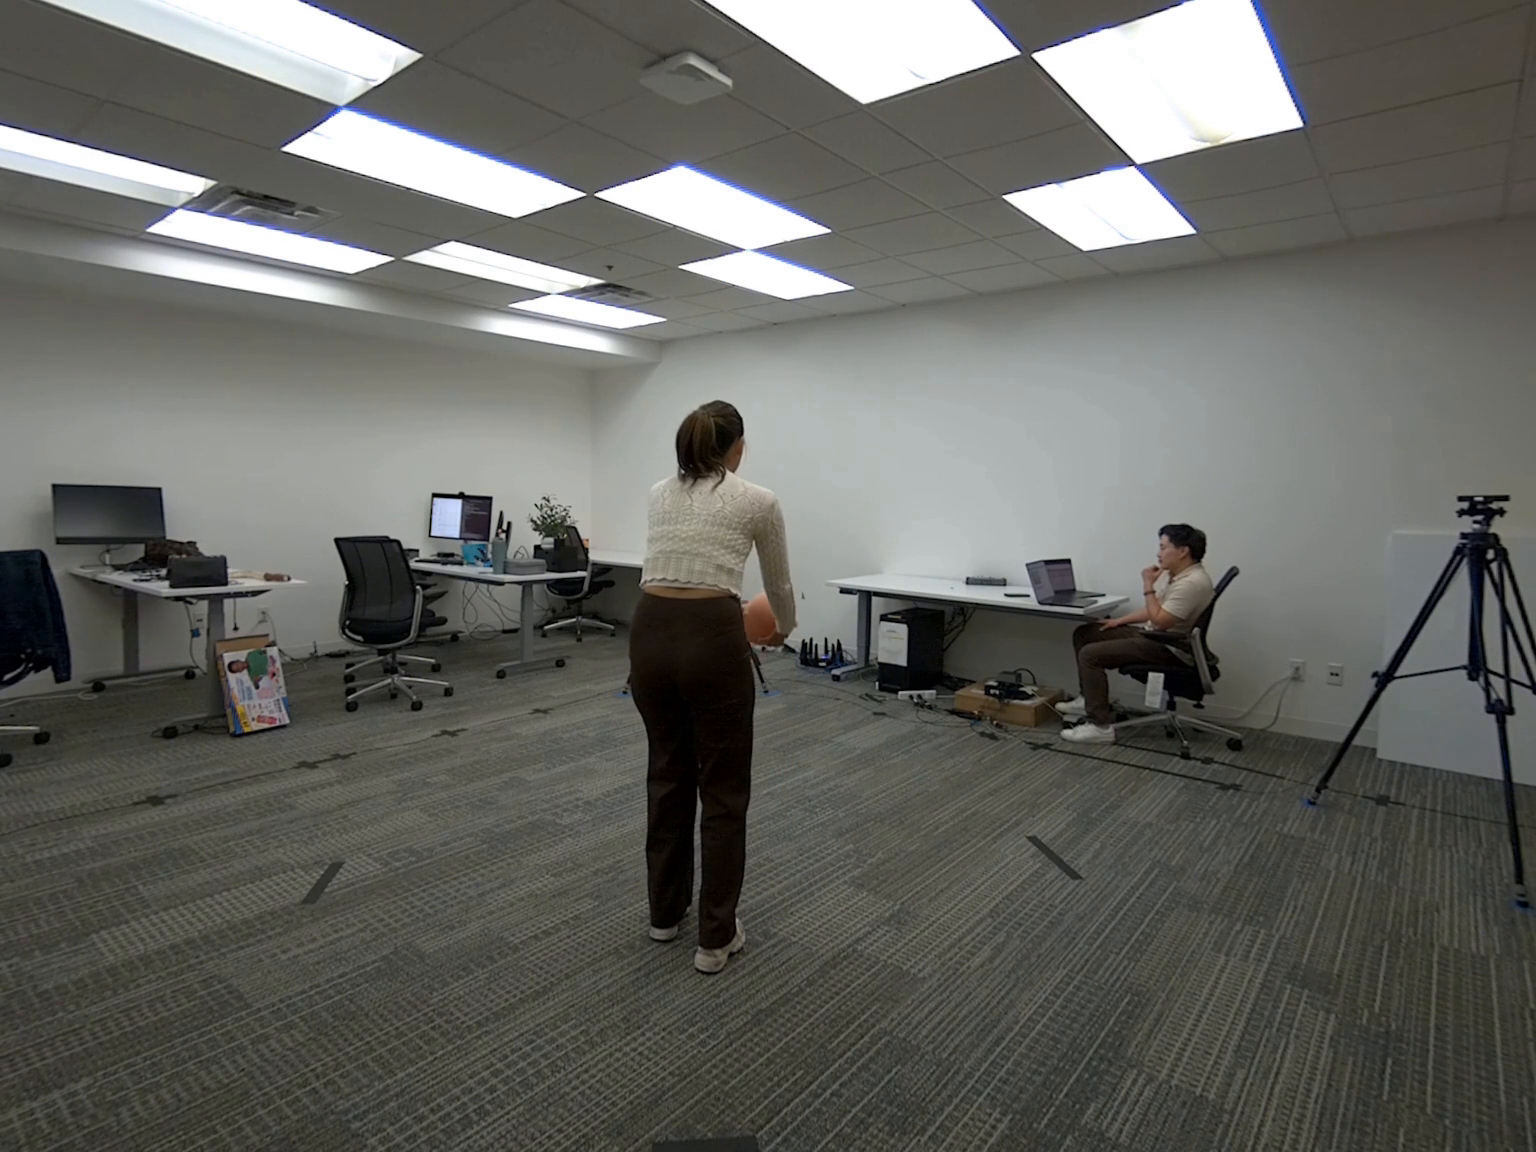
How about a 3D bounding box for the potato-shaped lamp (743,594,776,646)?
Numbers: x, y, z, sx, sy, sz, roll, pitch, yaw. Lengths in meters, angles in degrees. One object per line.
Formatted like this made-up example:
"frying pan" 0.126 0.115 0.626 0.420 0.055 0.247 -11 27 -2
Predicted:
"potato-shaped lamp" -0.022 0.151 3.041 0.162 0.193 0.178 -28 52 -36
